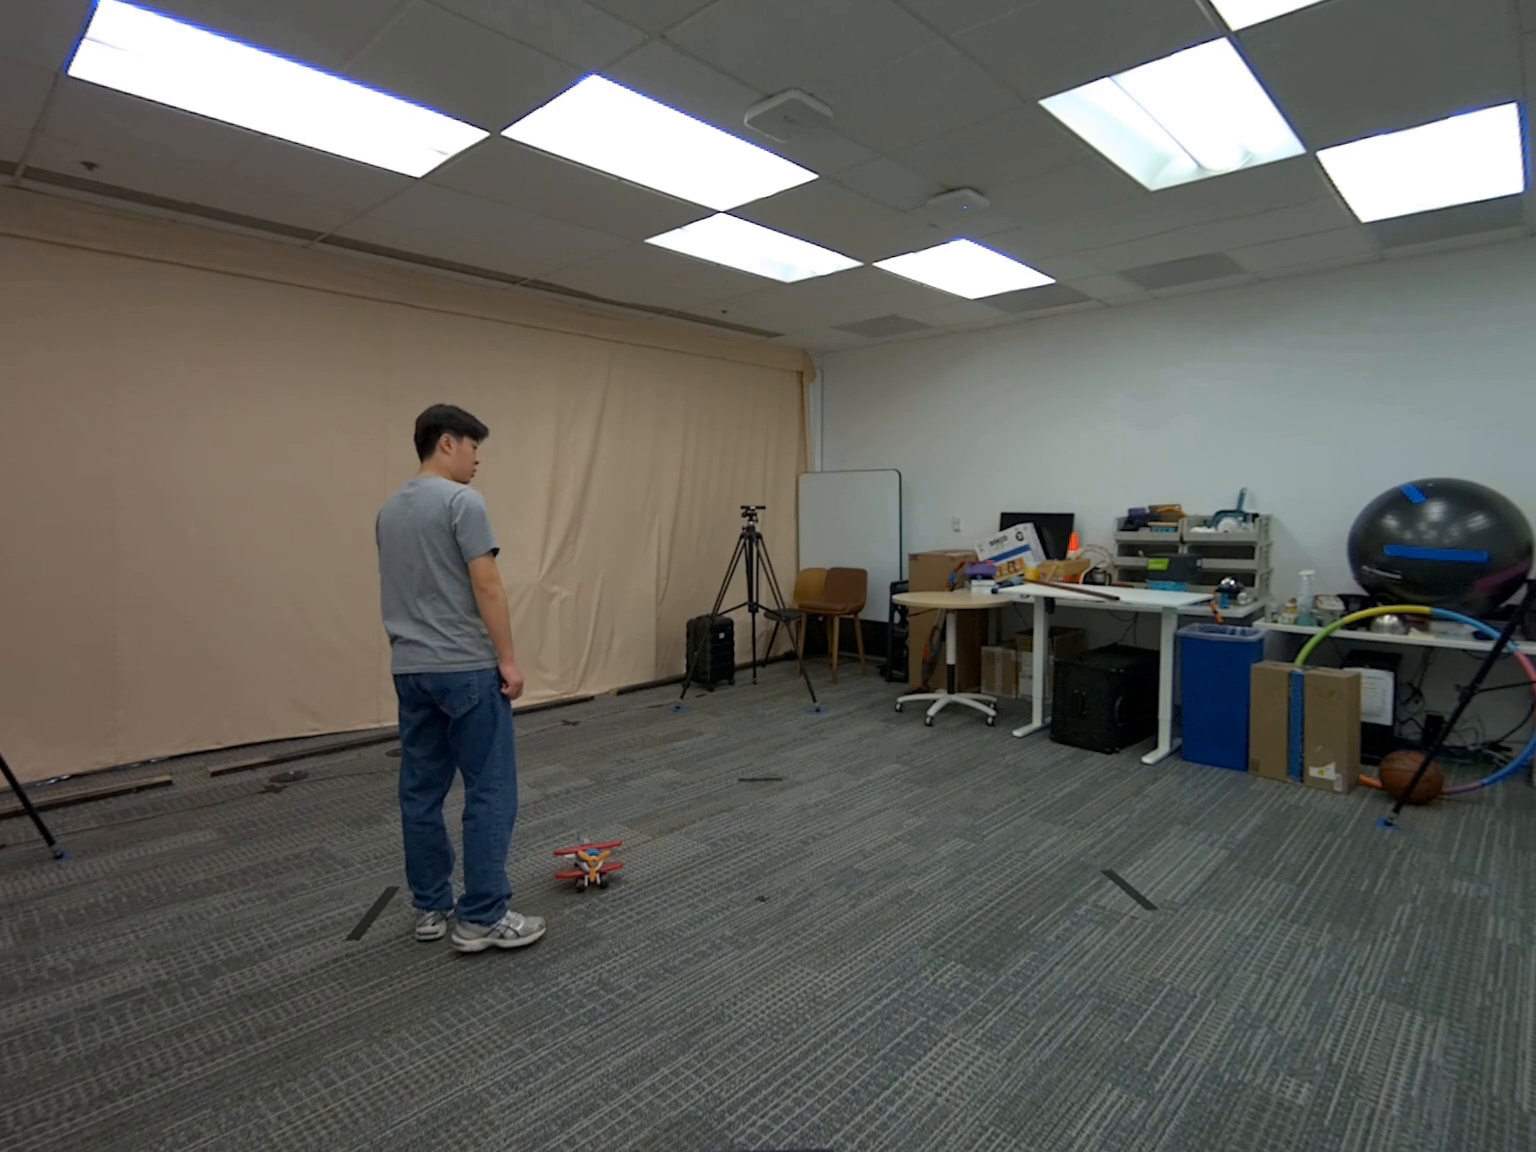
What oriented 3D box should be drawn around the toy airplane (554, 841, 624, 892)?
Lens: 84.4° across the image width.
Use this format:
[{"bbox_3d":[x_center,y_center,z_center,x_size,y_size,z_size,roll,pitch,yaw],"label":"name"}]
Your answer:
[{"bbox_3d":[-0.696,1.068,3.132,0.268,0.156,0.243,4,5,39],"label":"toy airplane"}]
